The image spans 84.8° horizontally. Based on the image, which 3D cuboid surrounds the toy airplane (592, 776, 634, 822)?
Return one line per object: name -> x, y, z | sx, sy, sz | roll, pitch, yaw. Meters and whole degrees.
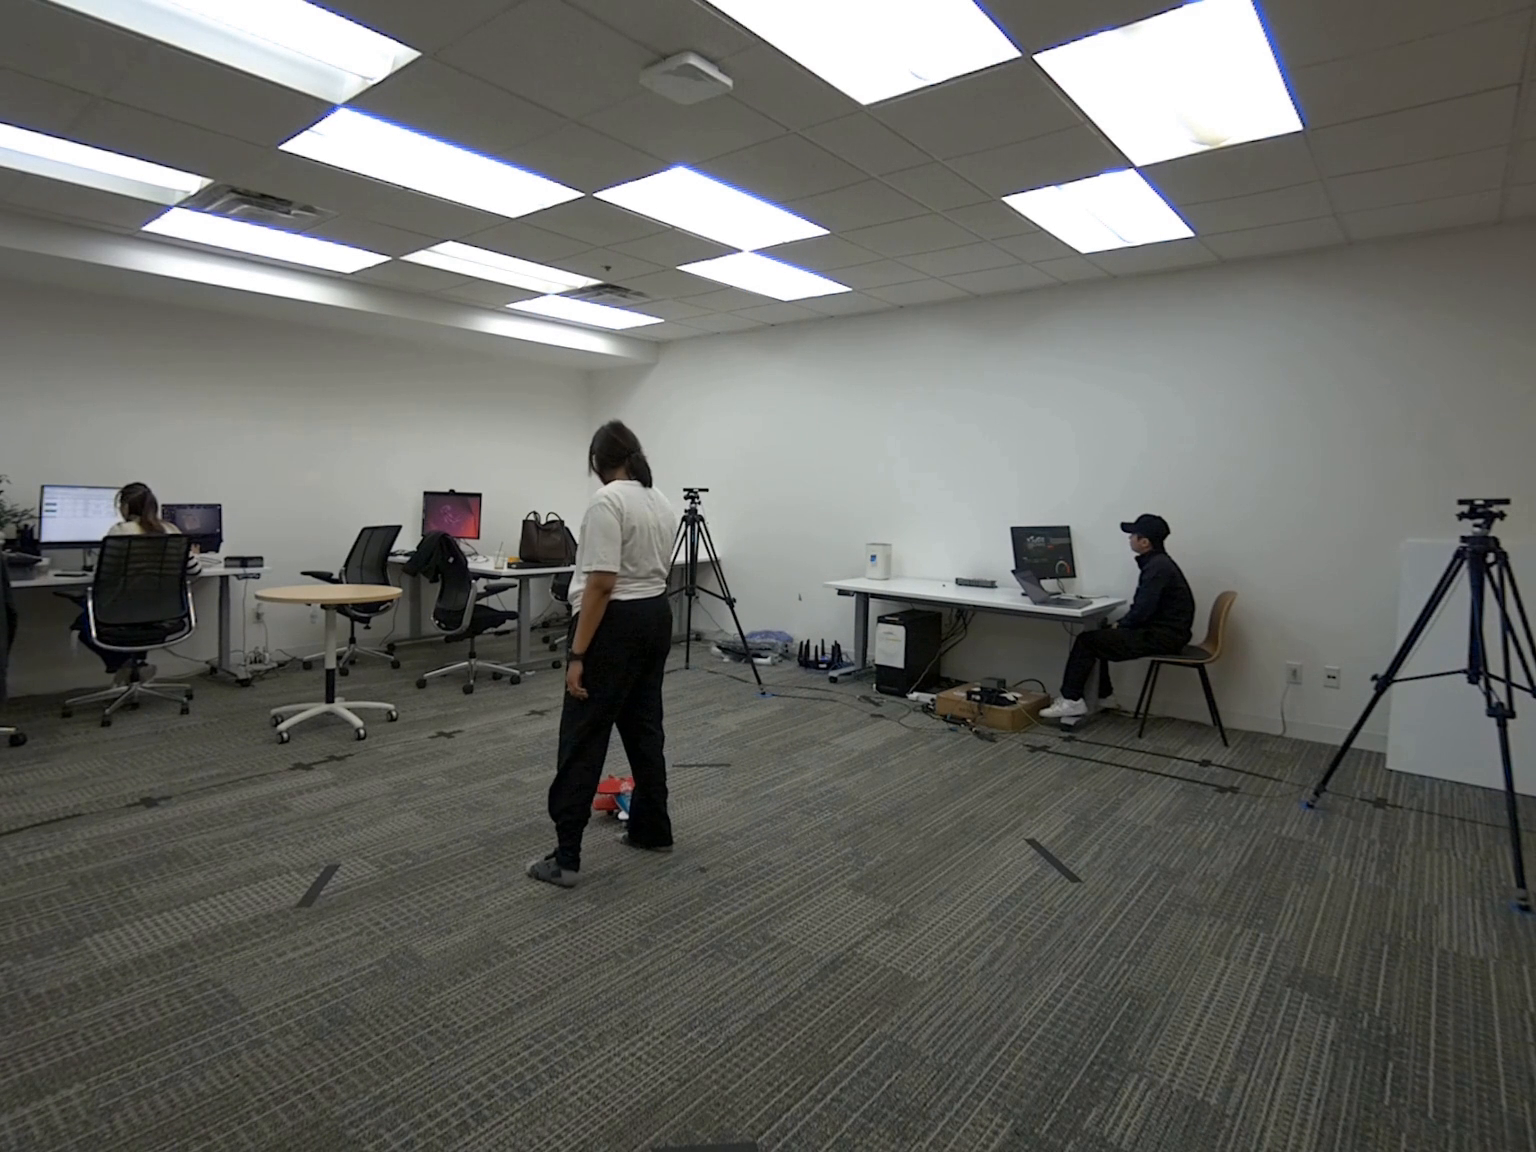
toy airplane -> -0.600, 0.946, 3.581 | 0.268, 0.156, 0.244 | 4, 6, 39
